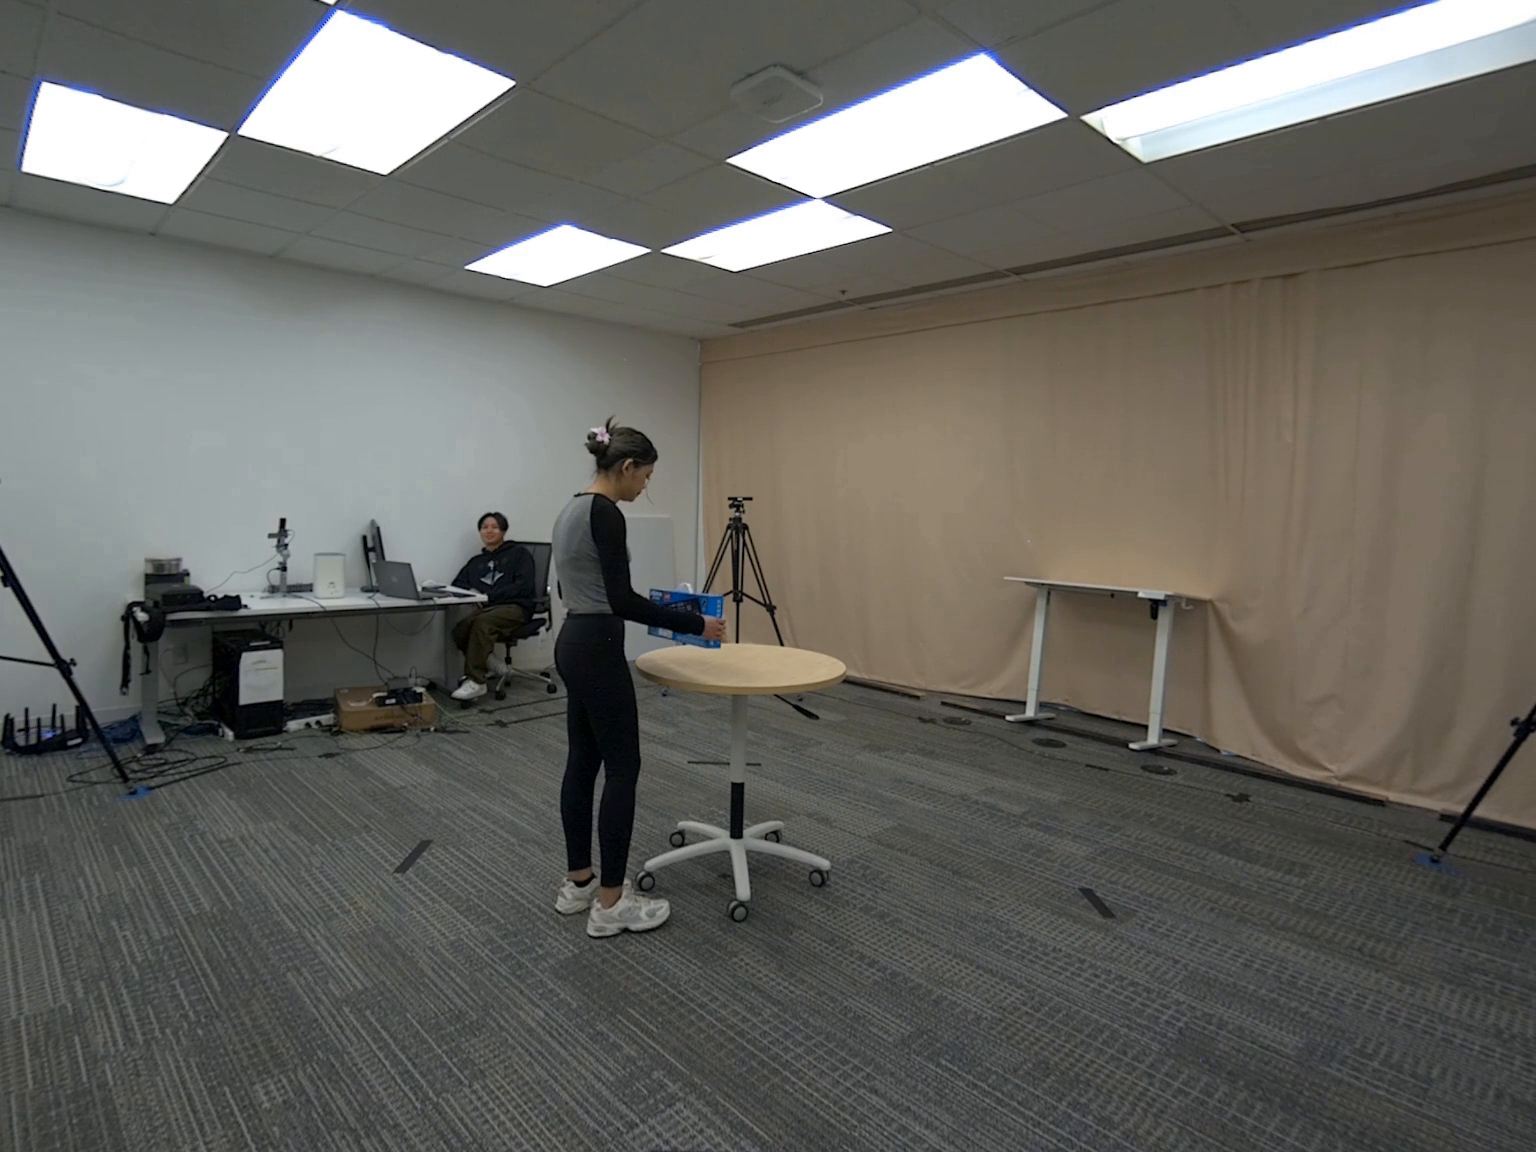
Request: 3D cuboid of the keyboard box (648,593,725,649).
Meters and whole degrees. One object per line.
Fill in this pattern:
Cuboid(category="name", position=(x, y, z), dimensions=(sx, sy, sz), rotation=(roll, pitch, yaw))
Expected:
Cuboid(category="keyboard box", position=(-0.305, 0.142, 2.920), dimensions=(0.058, 0.176, 0.446), rotation=(3, 0, -32))
